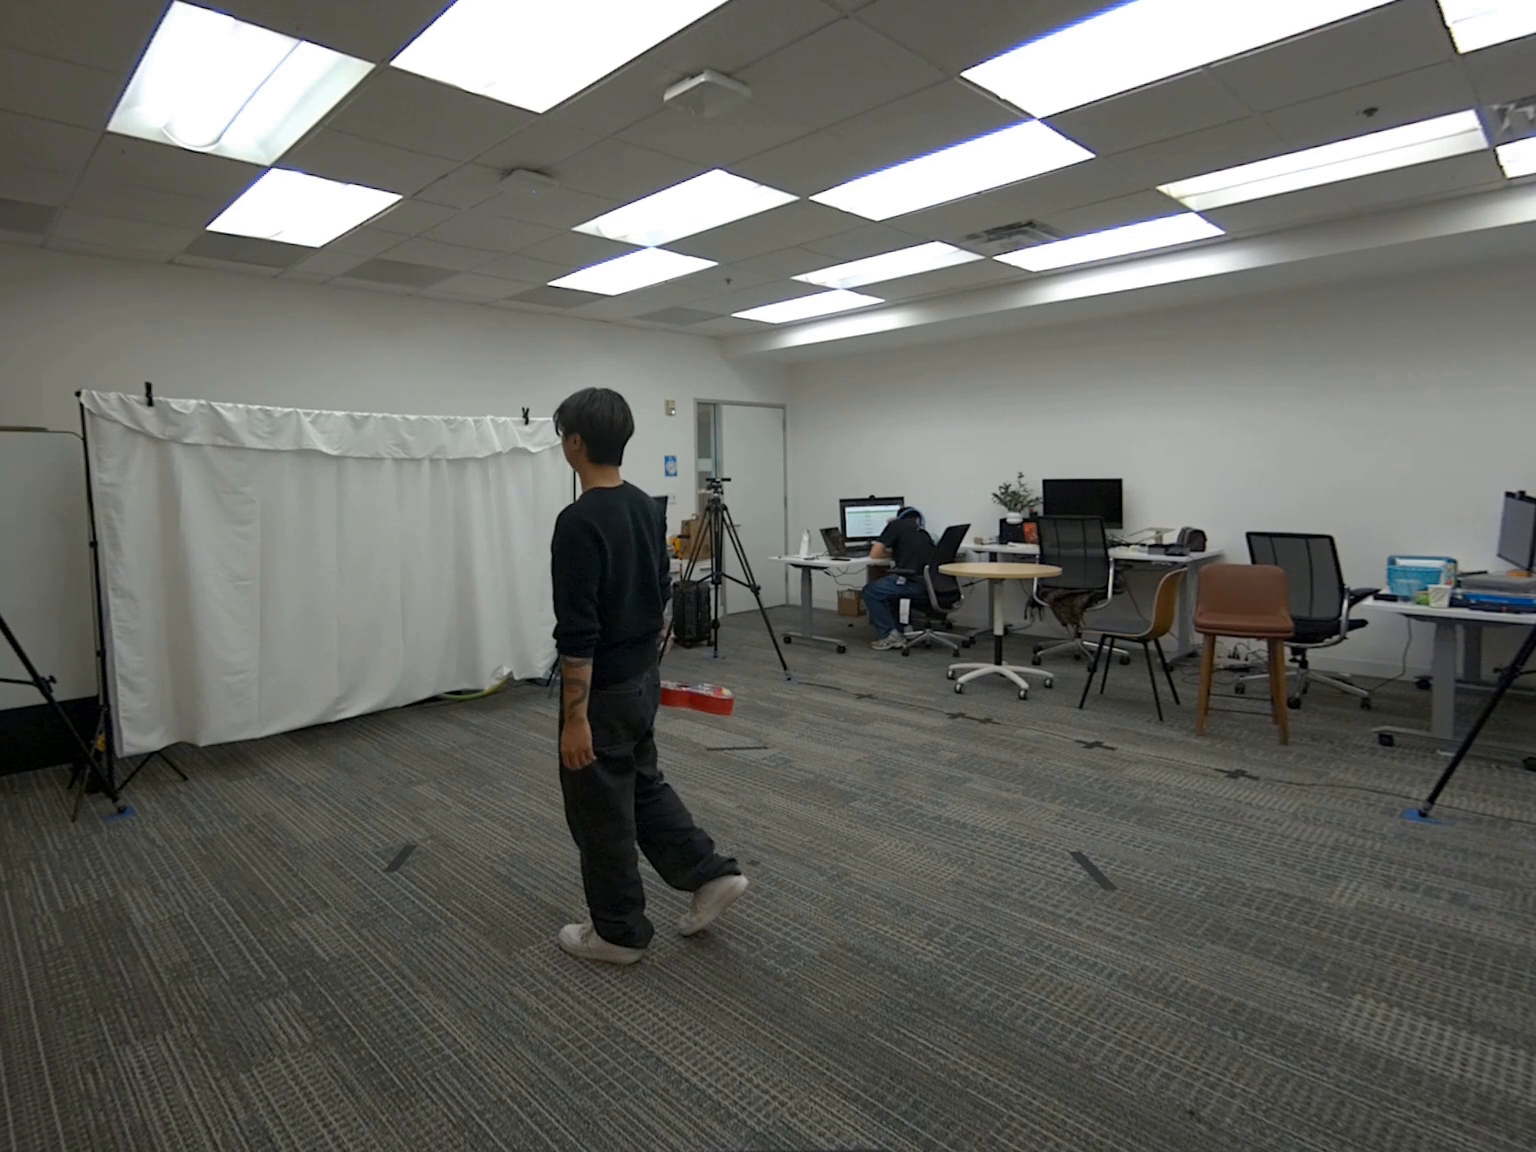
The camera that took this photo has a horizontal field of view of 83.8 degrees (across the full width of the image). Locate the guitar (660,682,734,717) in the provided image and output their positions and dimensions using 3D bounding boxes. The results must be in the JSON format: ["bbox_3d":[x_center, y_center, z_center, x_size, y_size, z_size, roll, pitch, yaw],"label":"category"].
[{"bbox_3d":[-0.348,0.387,2.872,0.499,0.070,0.193,9,3,1],"label":"guitar"}]
